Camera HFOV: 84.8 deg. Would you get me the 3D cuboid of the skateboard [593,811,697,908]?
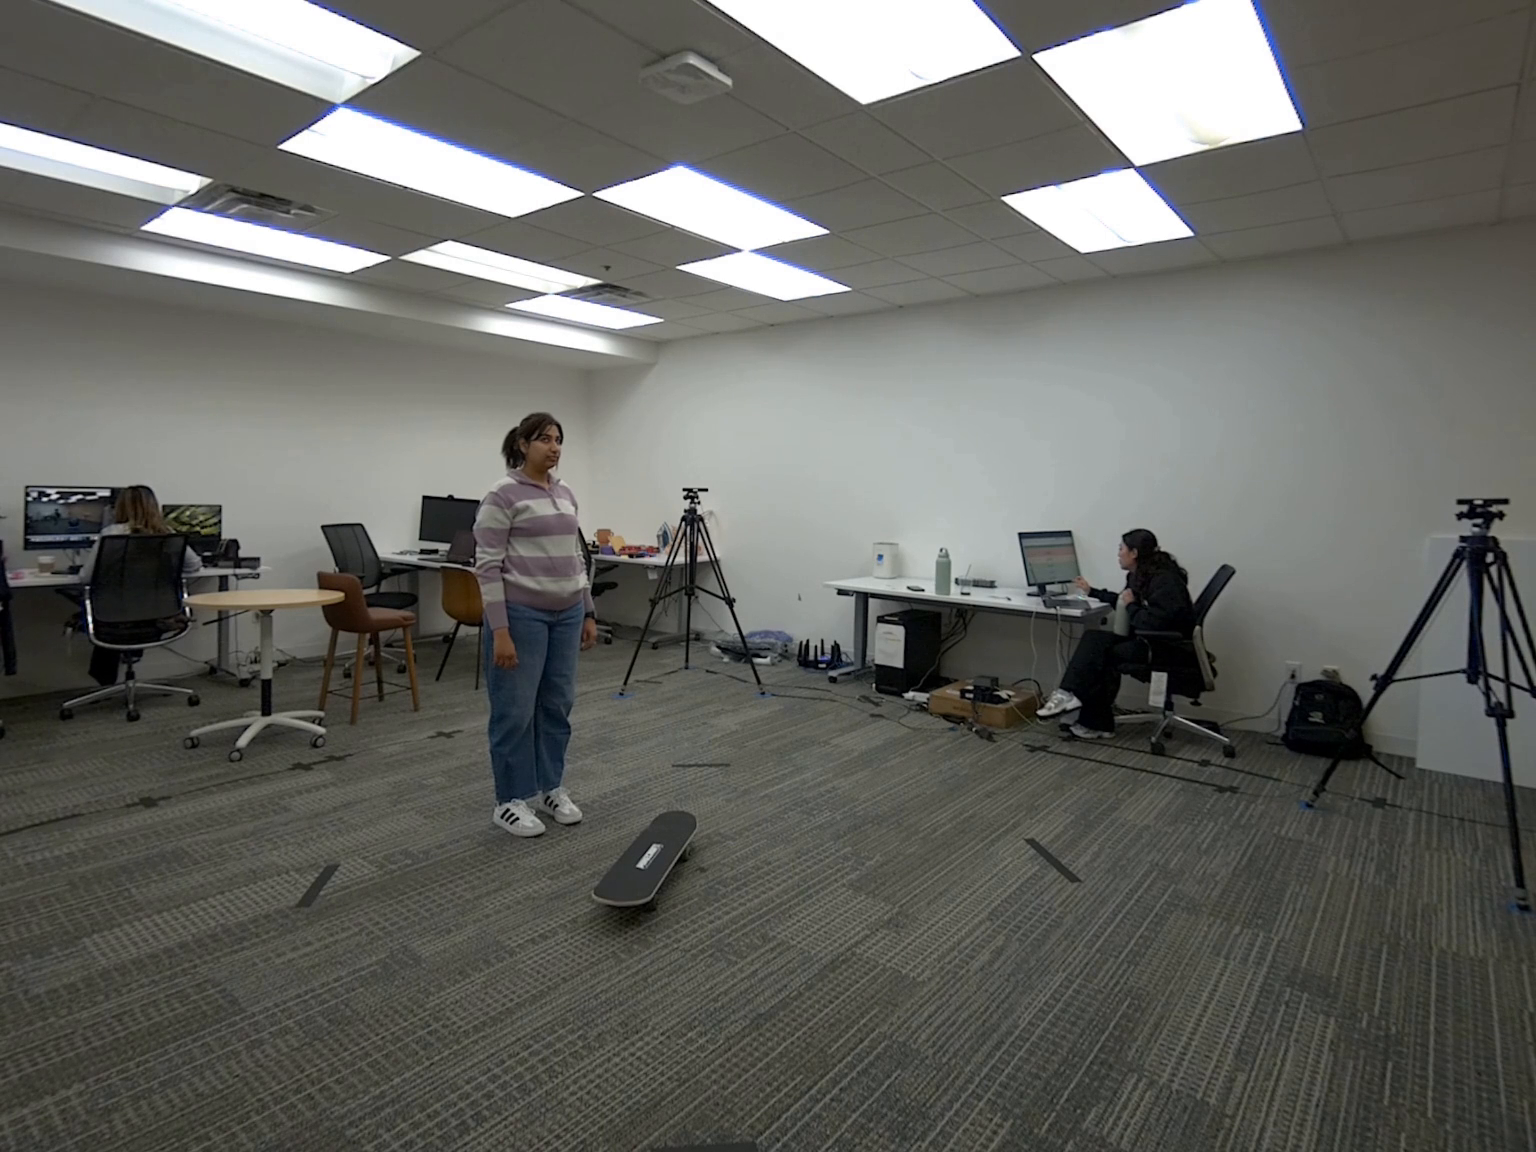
[{"bbox_3d":[-0.430,1.018,3.010,0.196,0.110,0.778,2,5,10],"label":"skateboard"}]
